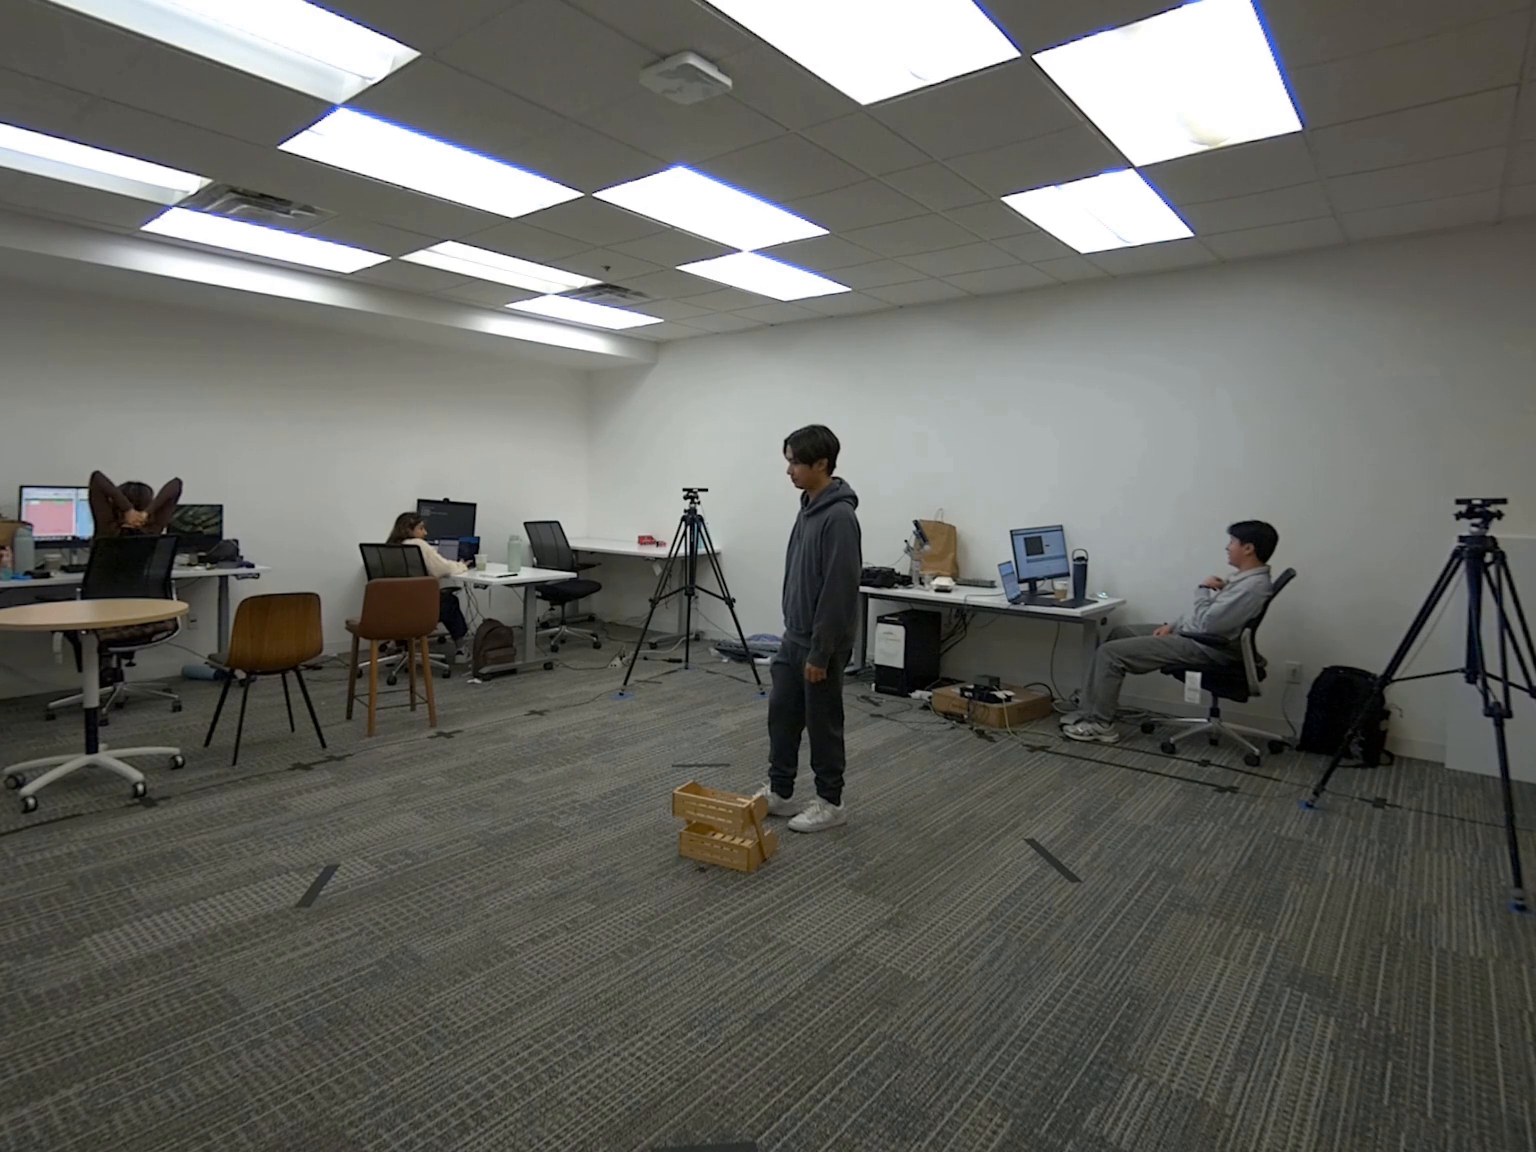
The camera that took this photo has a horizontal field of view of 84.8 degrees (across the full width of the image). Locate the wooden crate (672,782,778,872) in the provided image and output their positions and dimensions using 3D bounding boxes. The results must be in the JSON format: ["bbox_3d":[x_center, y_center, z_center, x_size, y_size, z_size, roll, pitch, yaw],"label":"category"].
[{"bbox_3d":[-0.168,0.924,3.238,0.333,0.272,0.295,3,5,27],"label":"wooden crate"}]
